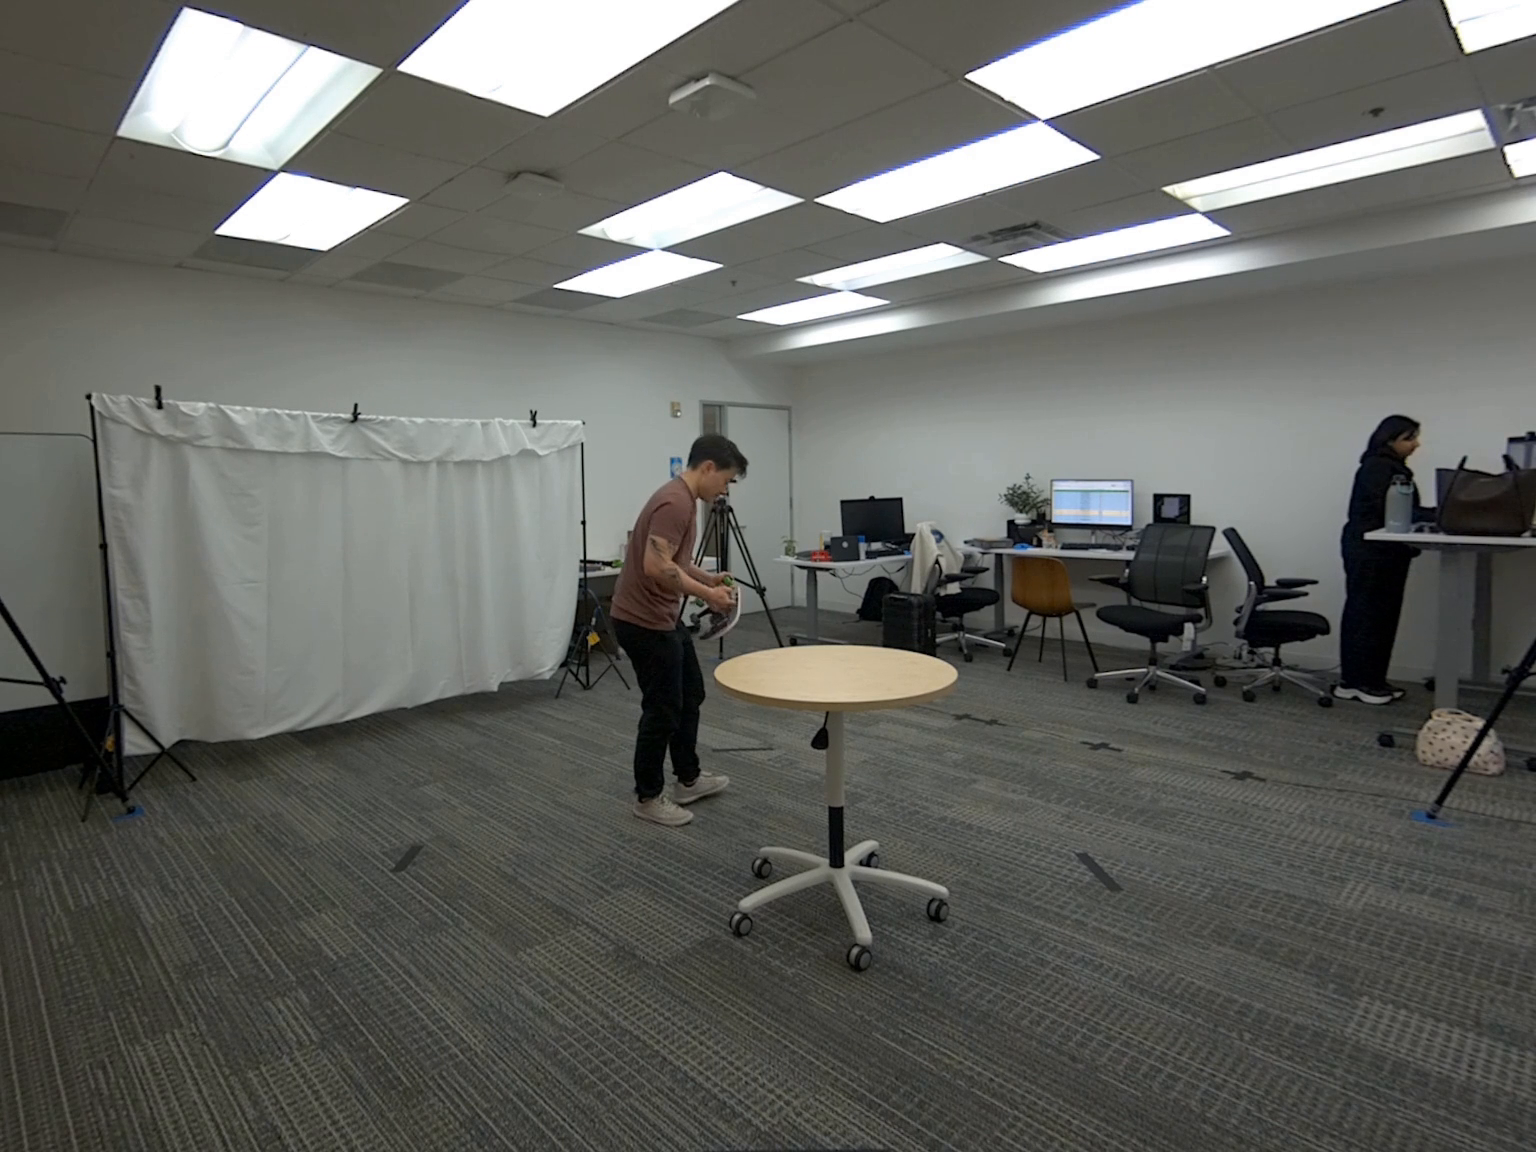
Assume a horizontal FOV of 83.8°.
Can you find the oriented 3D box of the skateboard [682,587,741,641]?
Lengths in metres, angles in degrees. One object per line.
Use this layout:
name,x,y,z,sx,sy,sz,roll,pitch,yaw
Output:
skateboard,-0.217,0.128,3.569,0.193,0.109,0.789,-35,7,3
